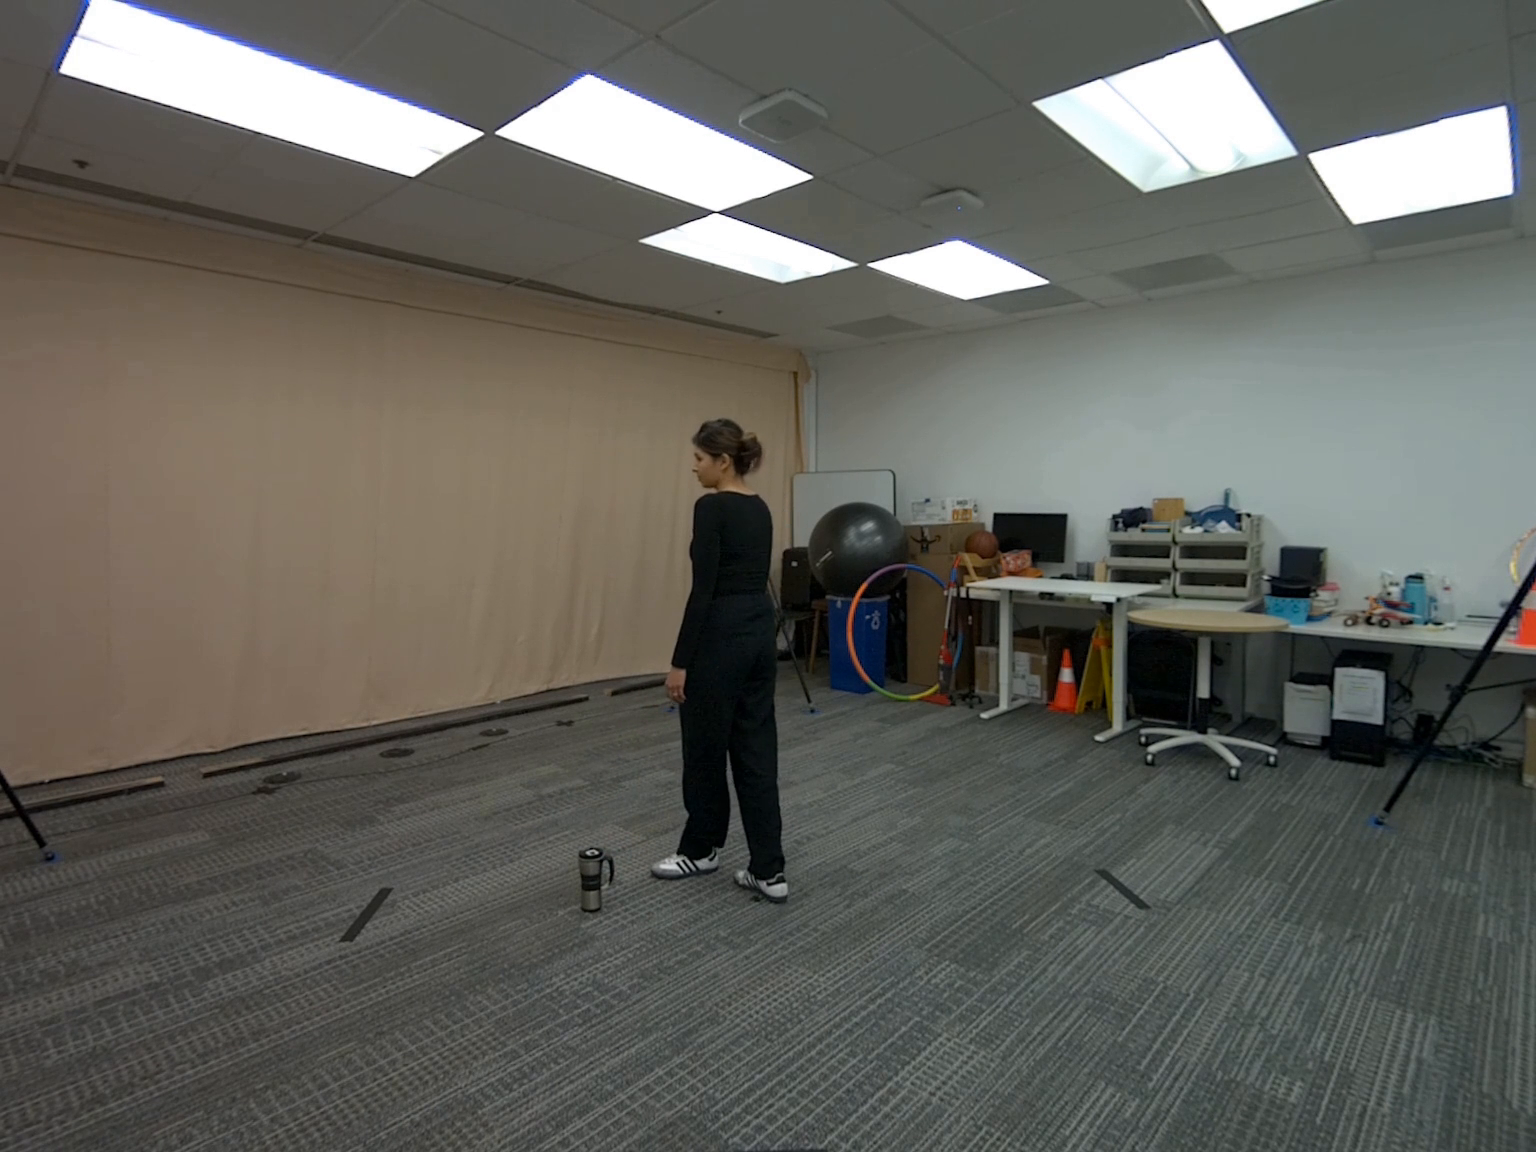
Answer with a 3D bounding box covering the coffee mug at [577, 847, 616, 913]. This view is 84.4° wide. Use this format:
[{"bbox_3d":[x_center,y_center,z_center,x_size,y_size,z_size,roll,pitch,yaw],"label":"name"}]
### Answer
[{"bbox_3d":[-0.596,1.062,2.905,0.126,0.203,0.085,-2,-2,36],"label":"coffee mug"}]
